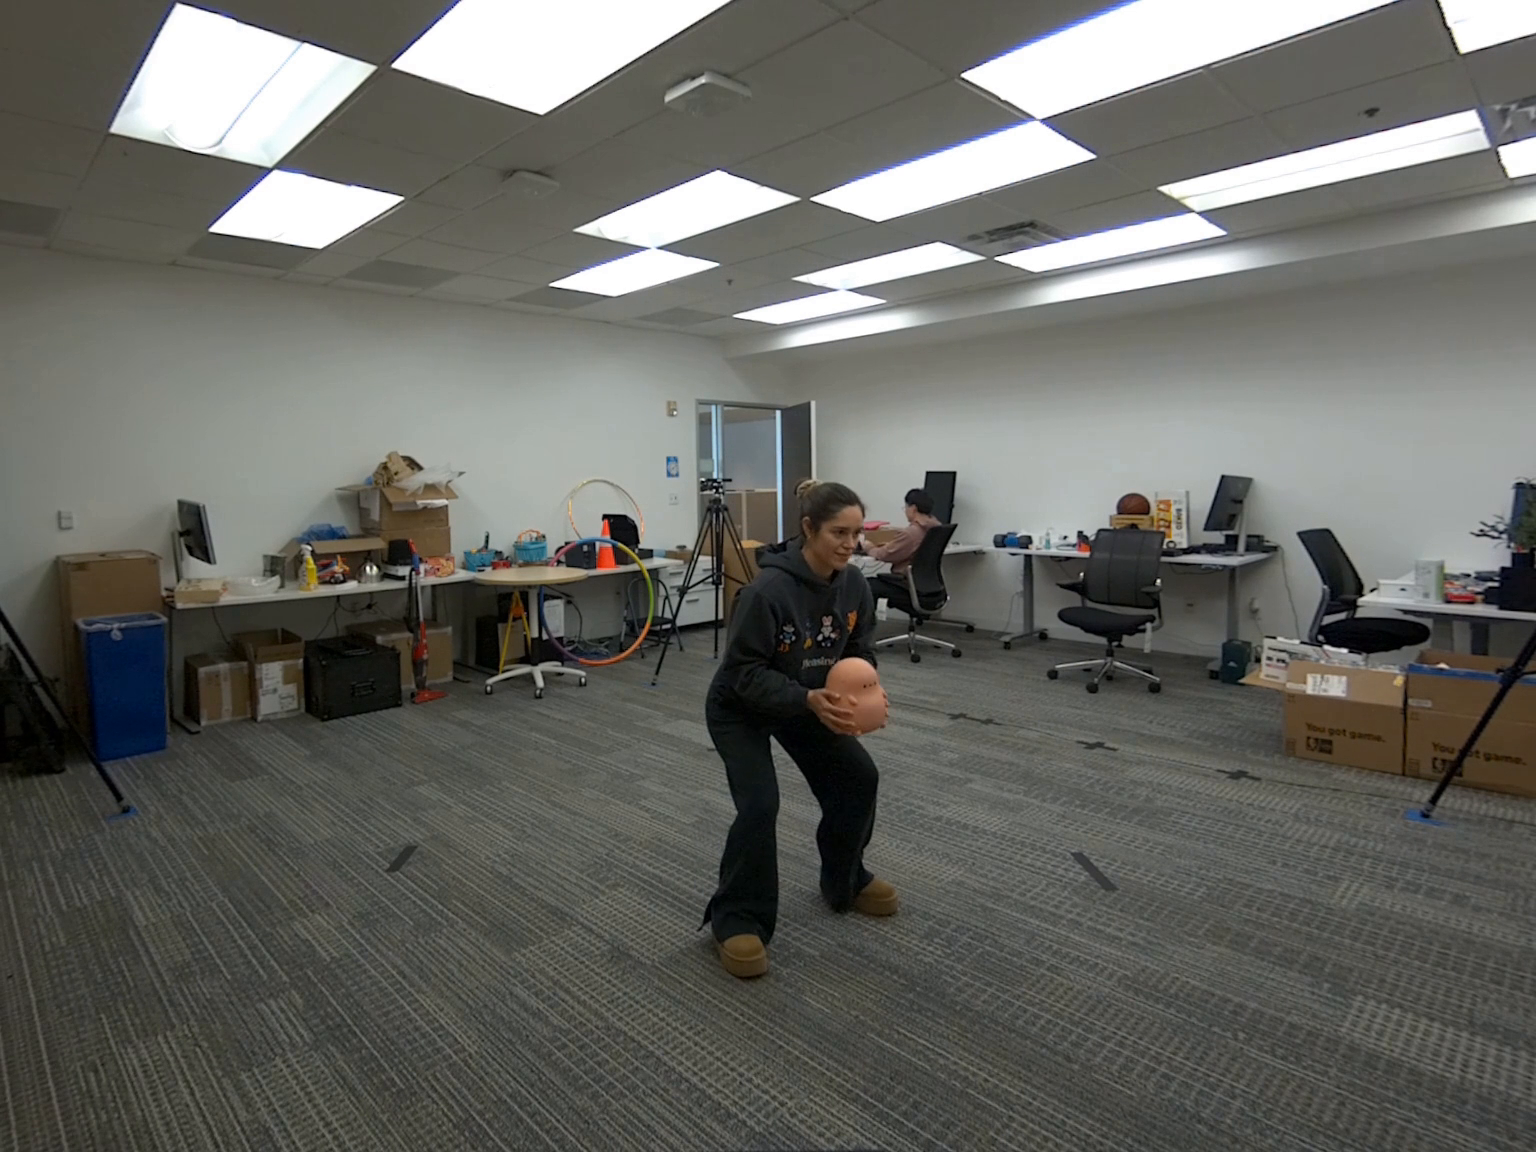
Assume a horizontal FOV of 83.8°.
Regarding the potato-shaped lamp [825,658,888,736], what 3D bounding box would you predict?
[{"bbox_3d":[0.236,0.326,2.370,0.161,0.196,0.177,-8,13,-35],"label":"potato-shaped lamp"}]
